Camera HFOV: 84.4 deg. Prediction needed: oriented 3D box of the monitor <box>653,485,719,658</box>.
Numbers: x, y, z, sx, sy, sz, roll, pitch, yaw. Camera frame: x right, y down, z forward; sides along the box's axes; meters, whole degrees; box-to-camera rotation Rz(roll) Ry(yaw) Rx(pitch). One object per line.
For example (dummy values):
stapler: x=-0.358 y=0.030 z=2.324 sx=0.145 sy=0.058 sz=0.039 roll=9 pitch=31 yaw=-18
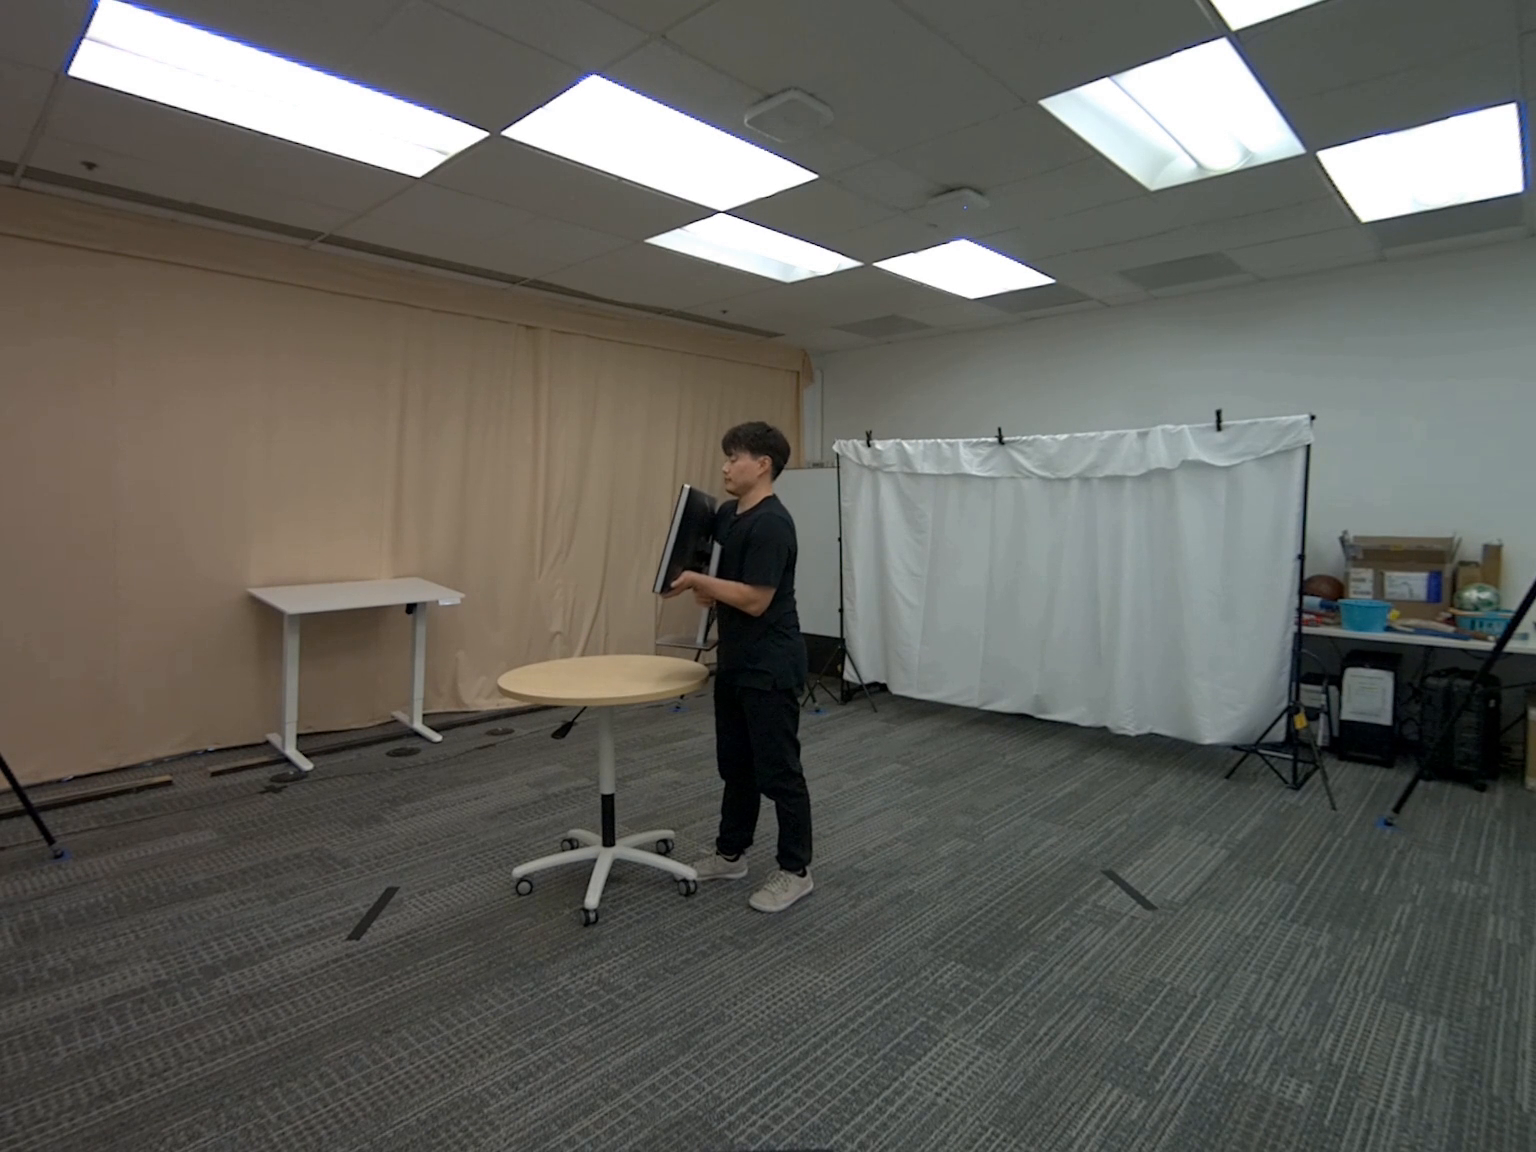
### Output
monitor: x=-0.254 y=-0.017 z=2.963 sx=0.188 sy=0.522 sz=0.535 roll=5 pitch=1 yaw=4
